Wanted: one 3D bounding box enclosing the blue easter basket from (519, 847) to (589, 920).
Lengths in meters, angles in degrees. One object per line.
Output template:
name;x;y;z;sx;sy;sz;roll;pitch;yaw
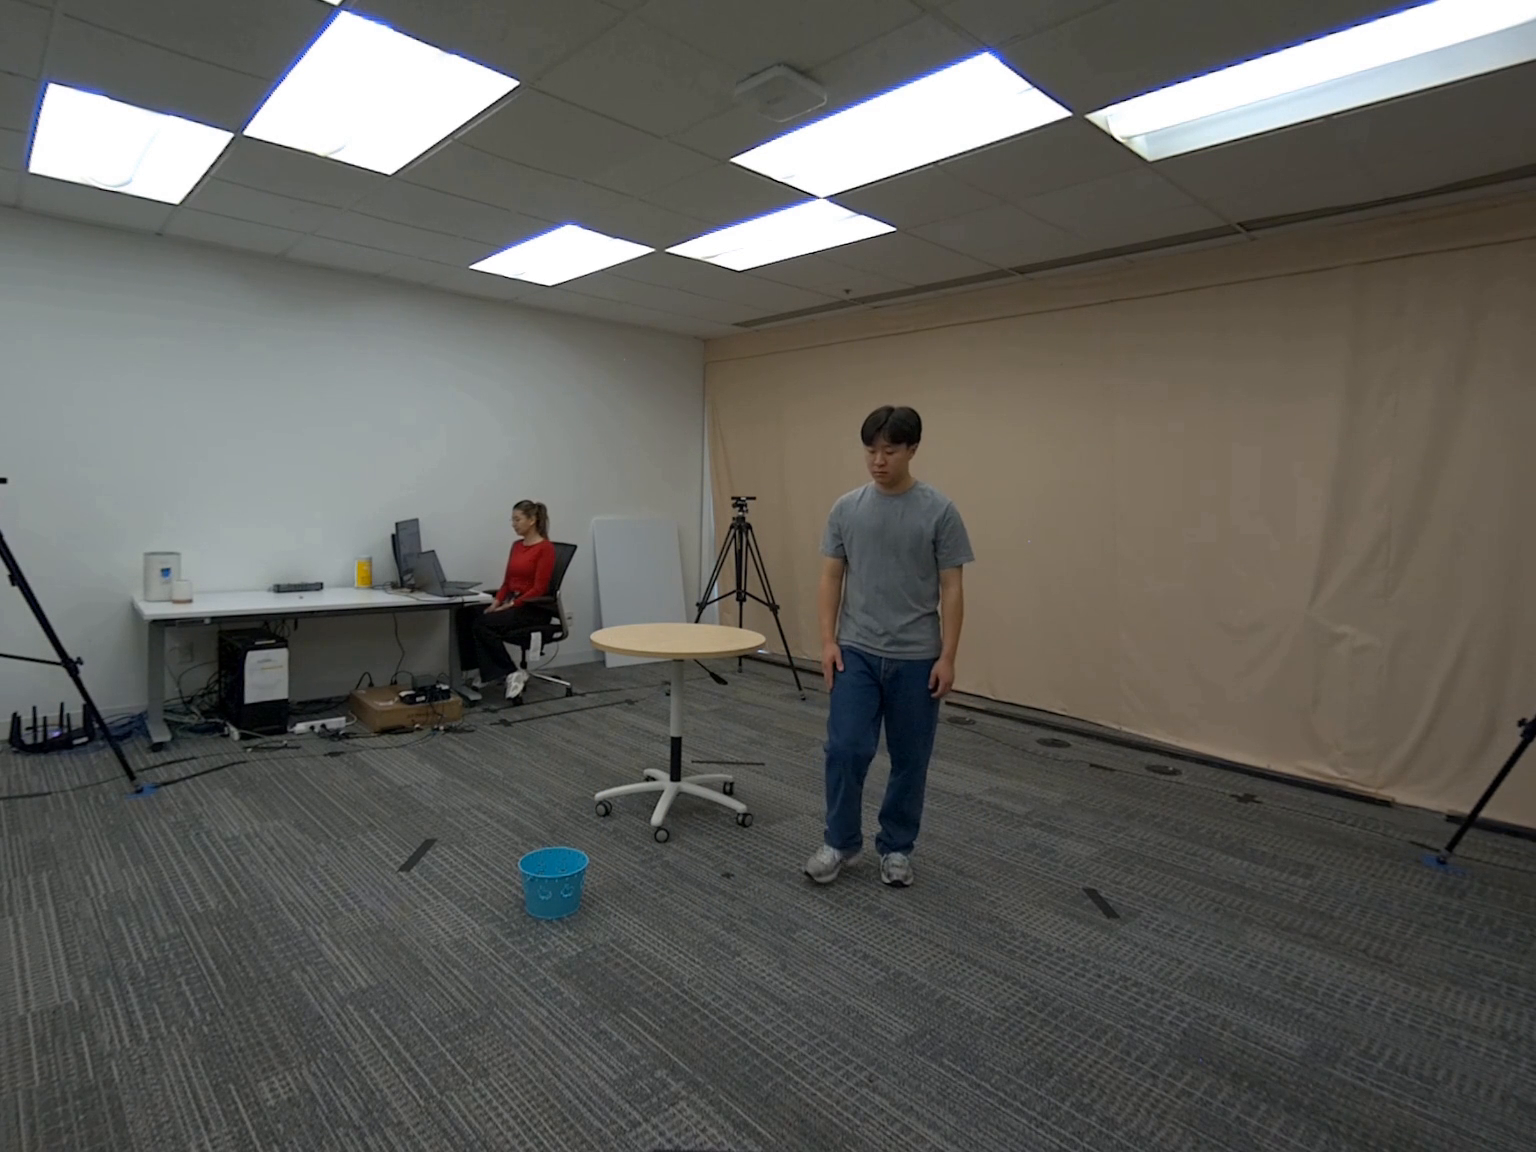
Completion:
blue easter basket;-0.736;1.039;2.848;0.243;0.155;0.244;2;6;-2
